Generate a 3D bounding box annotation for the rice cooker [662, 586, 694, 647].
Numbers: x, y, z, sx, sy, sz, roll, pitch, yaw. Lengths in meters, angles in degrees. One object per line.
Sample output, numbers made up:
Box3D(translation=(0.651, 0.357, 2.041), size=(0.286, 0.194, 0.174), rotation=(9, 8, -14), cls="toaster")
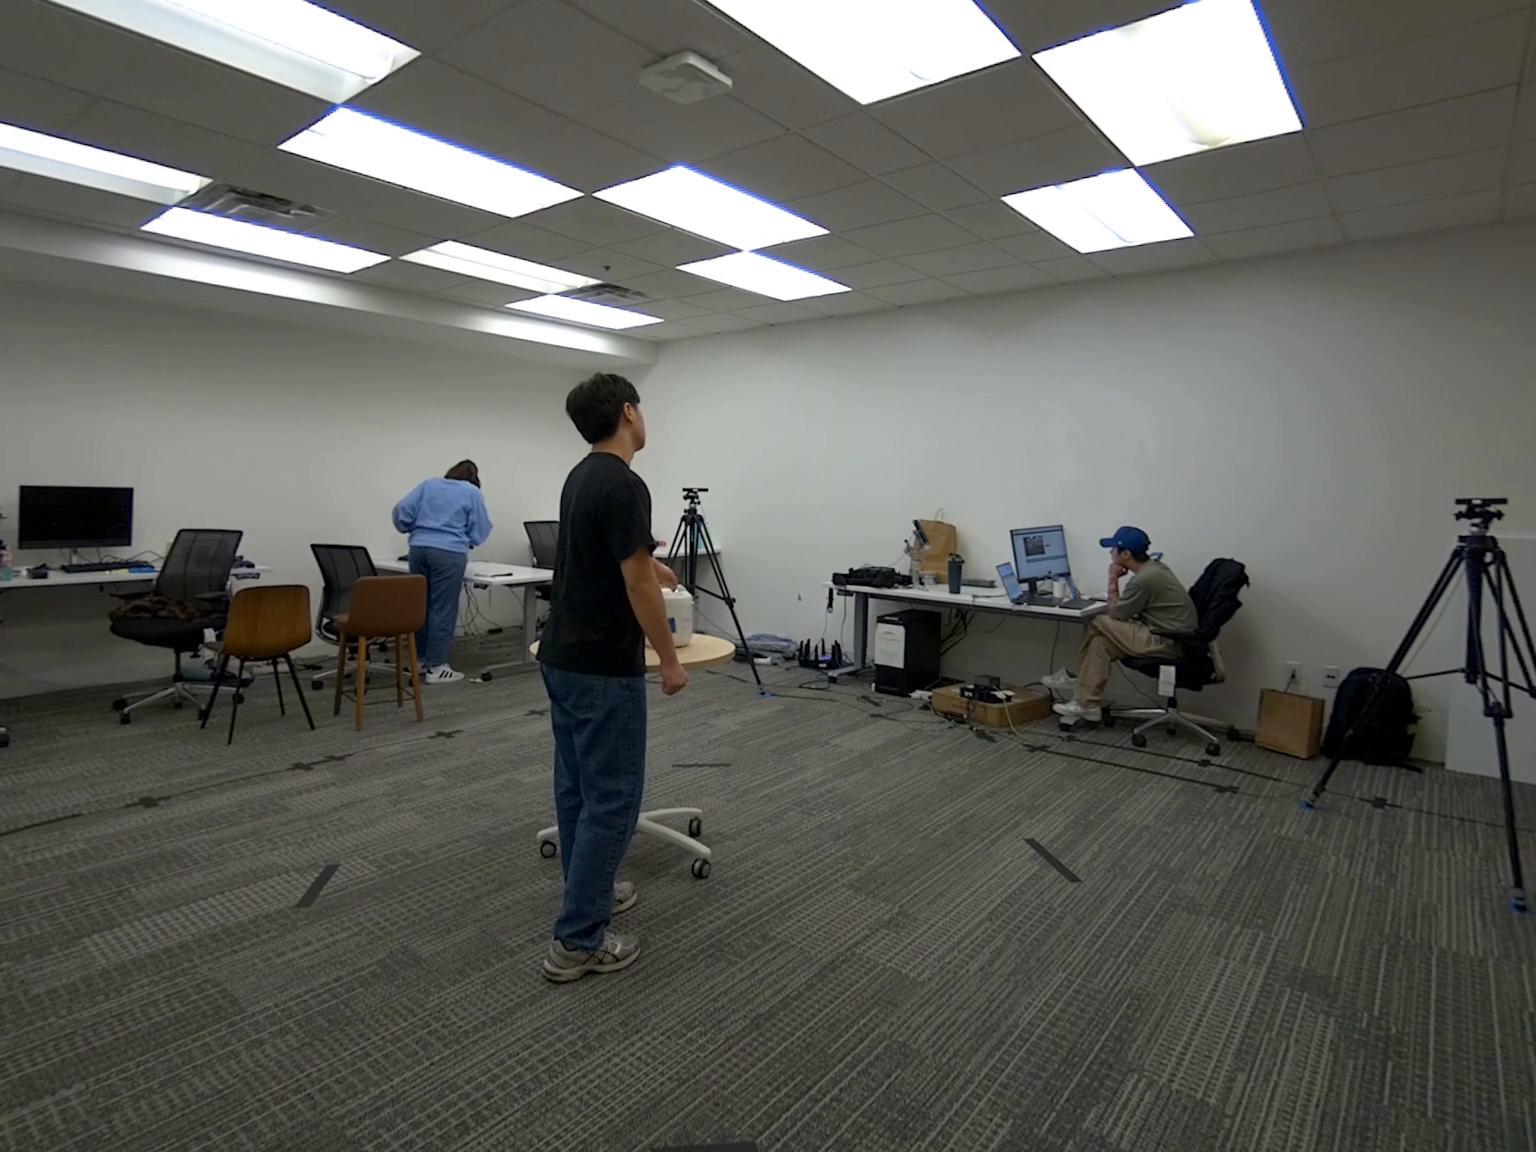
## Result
Box3D(translation=(-0.399, 0.143, 3.232), size=(0.215, 0.232, 0.224), rotation=(0, 4, -28), cls="rice cooker")
